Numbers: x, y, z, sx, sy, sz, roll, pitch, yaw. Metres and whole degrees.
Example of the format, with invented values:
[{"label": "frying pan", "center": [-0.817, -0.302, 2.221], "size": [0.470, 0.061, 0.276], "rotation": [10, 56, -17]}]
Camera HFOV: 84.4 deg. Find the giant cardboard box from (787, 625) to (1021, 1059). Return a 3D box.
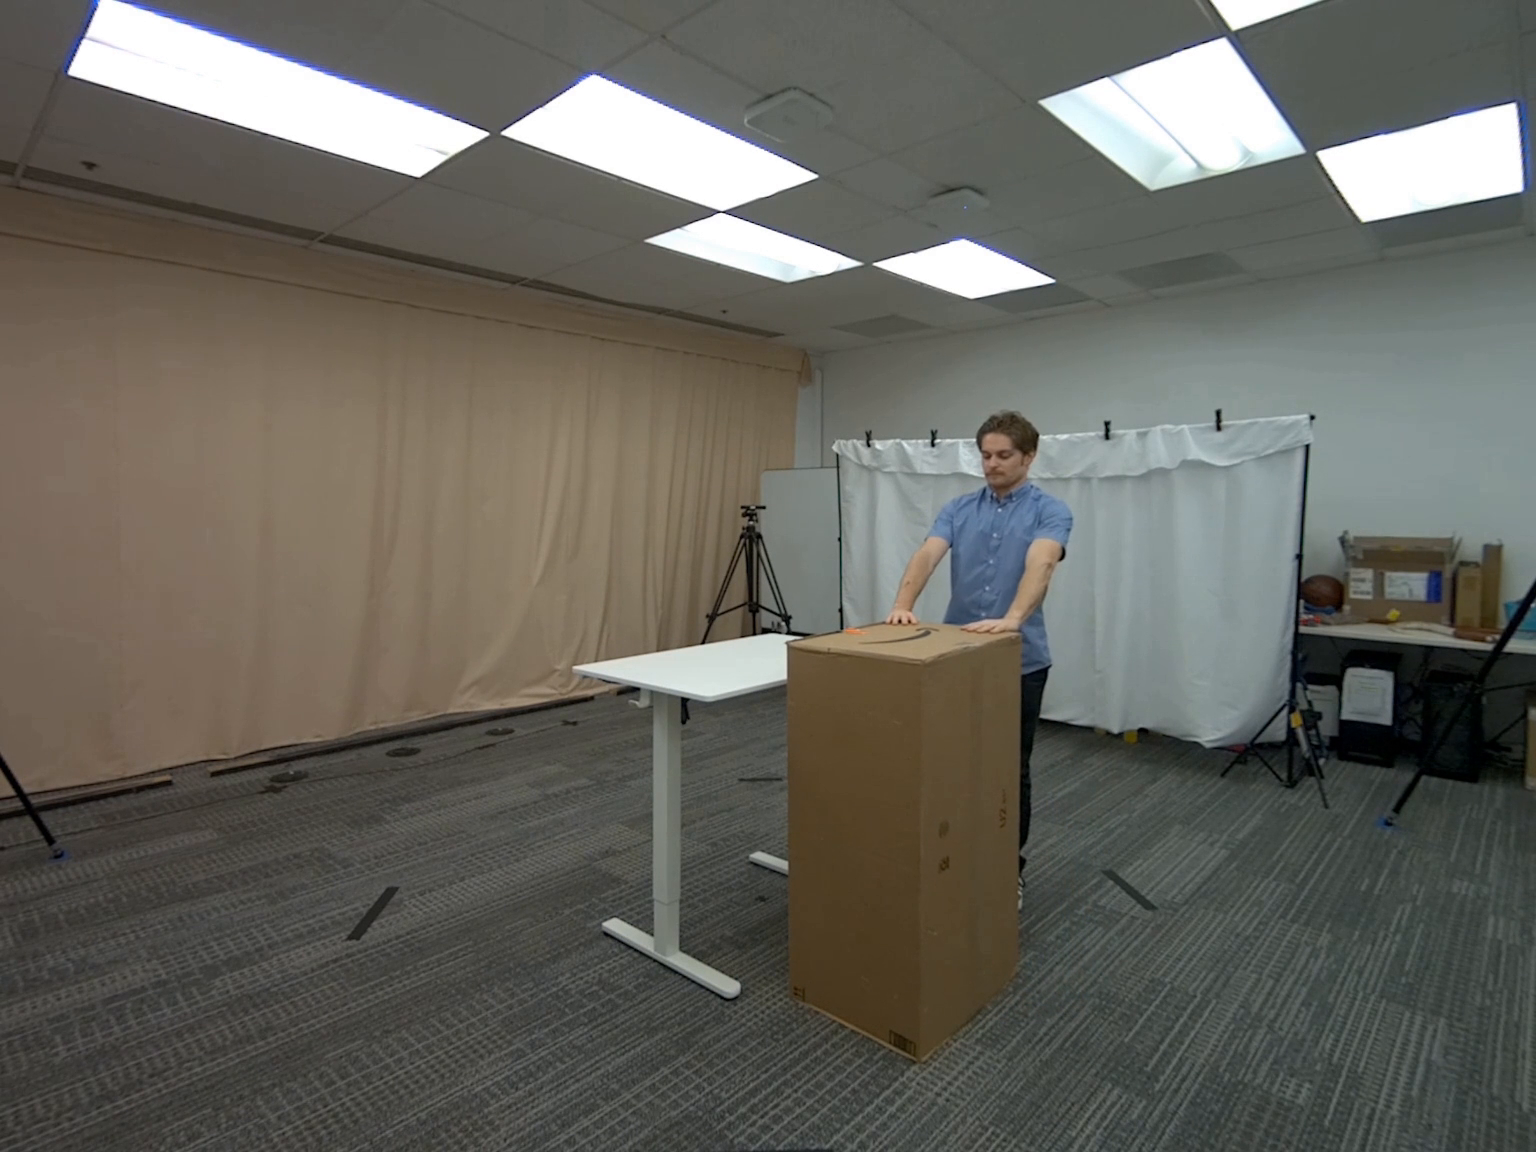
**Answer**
[{"label": "giant cardboard box", "center": [0.398, 0.681, 2.416], "size": [0.440, 1.024, 0.560], "rotation": [3, 4, 42]}]
